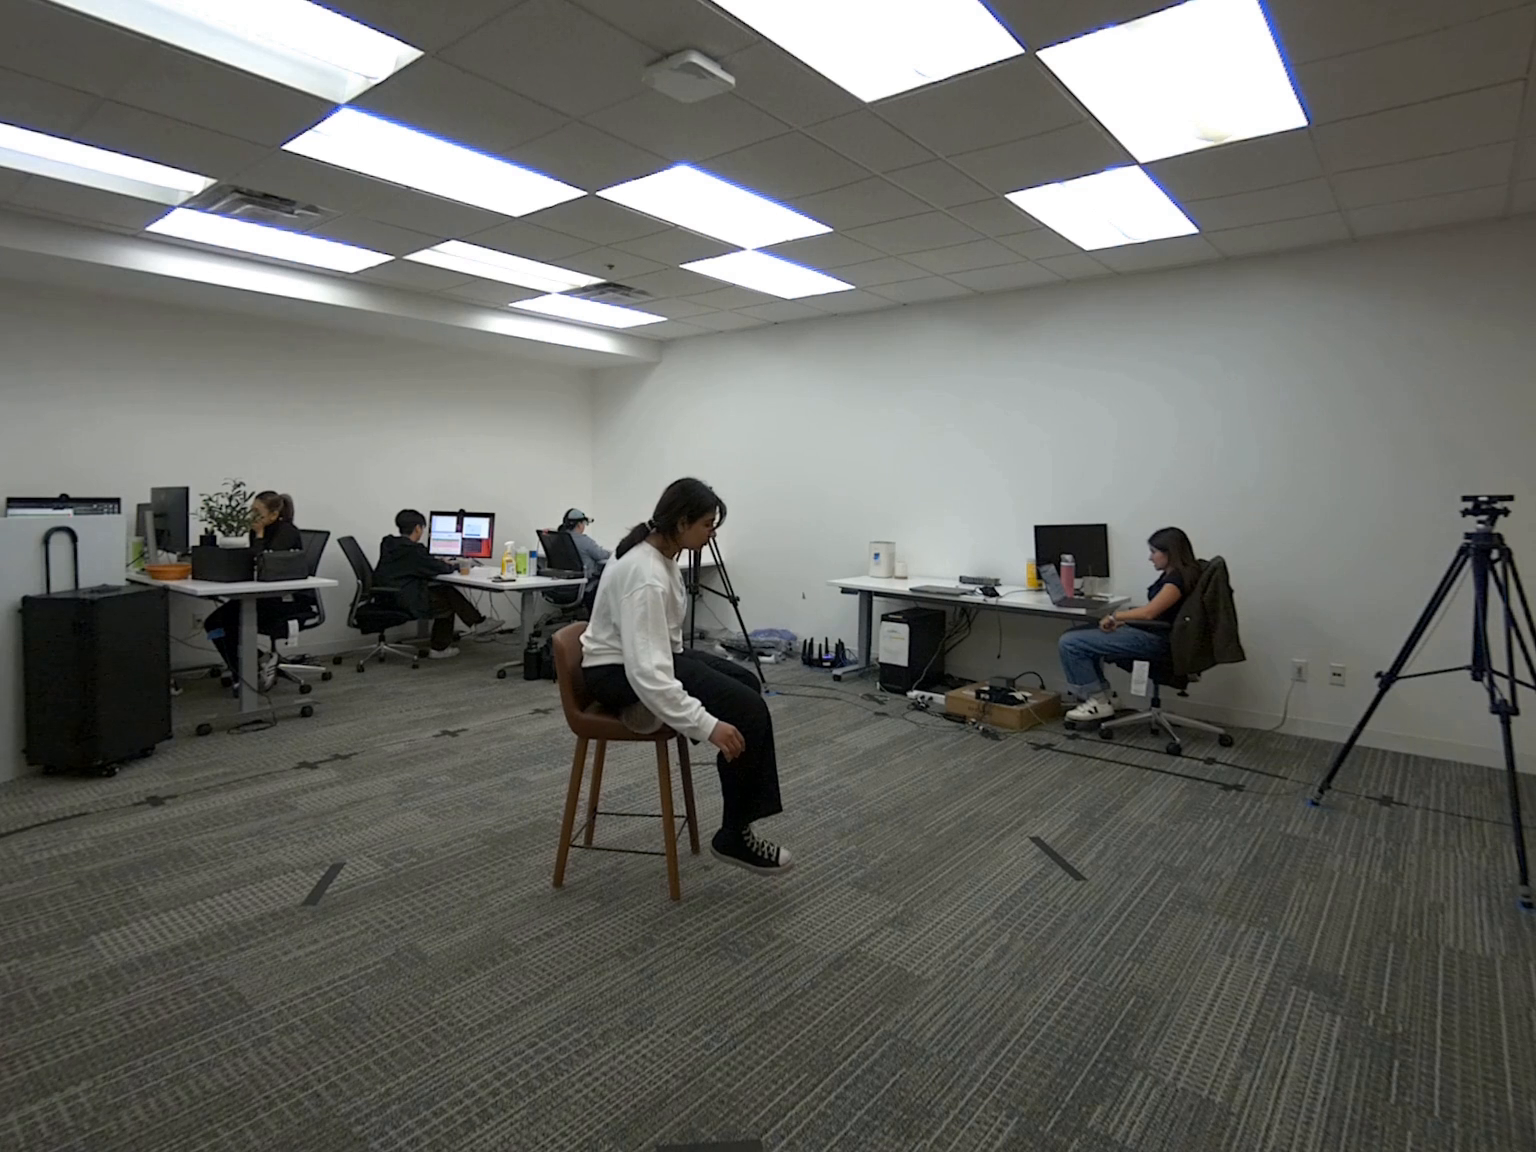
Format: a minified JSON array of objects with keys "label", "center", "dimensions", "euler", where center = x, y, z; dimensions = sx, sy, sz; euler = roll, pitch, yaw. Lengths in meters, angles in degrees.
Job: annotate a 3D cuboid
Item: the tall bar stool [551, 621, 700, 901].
[{"label":"tall bar stool","center":[-0.509,0.633,3.075],"dimensions":[0.472,0.887,0.453],"euler":[0,3,9]}]
